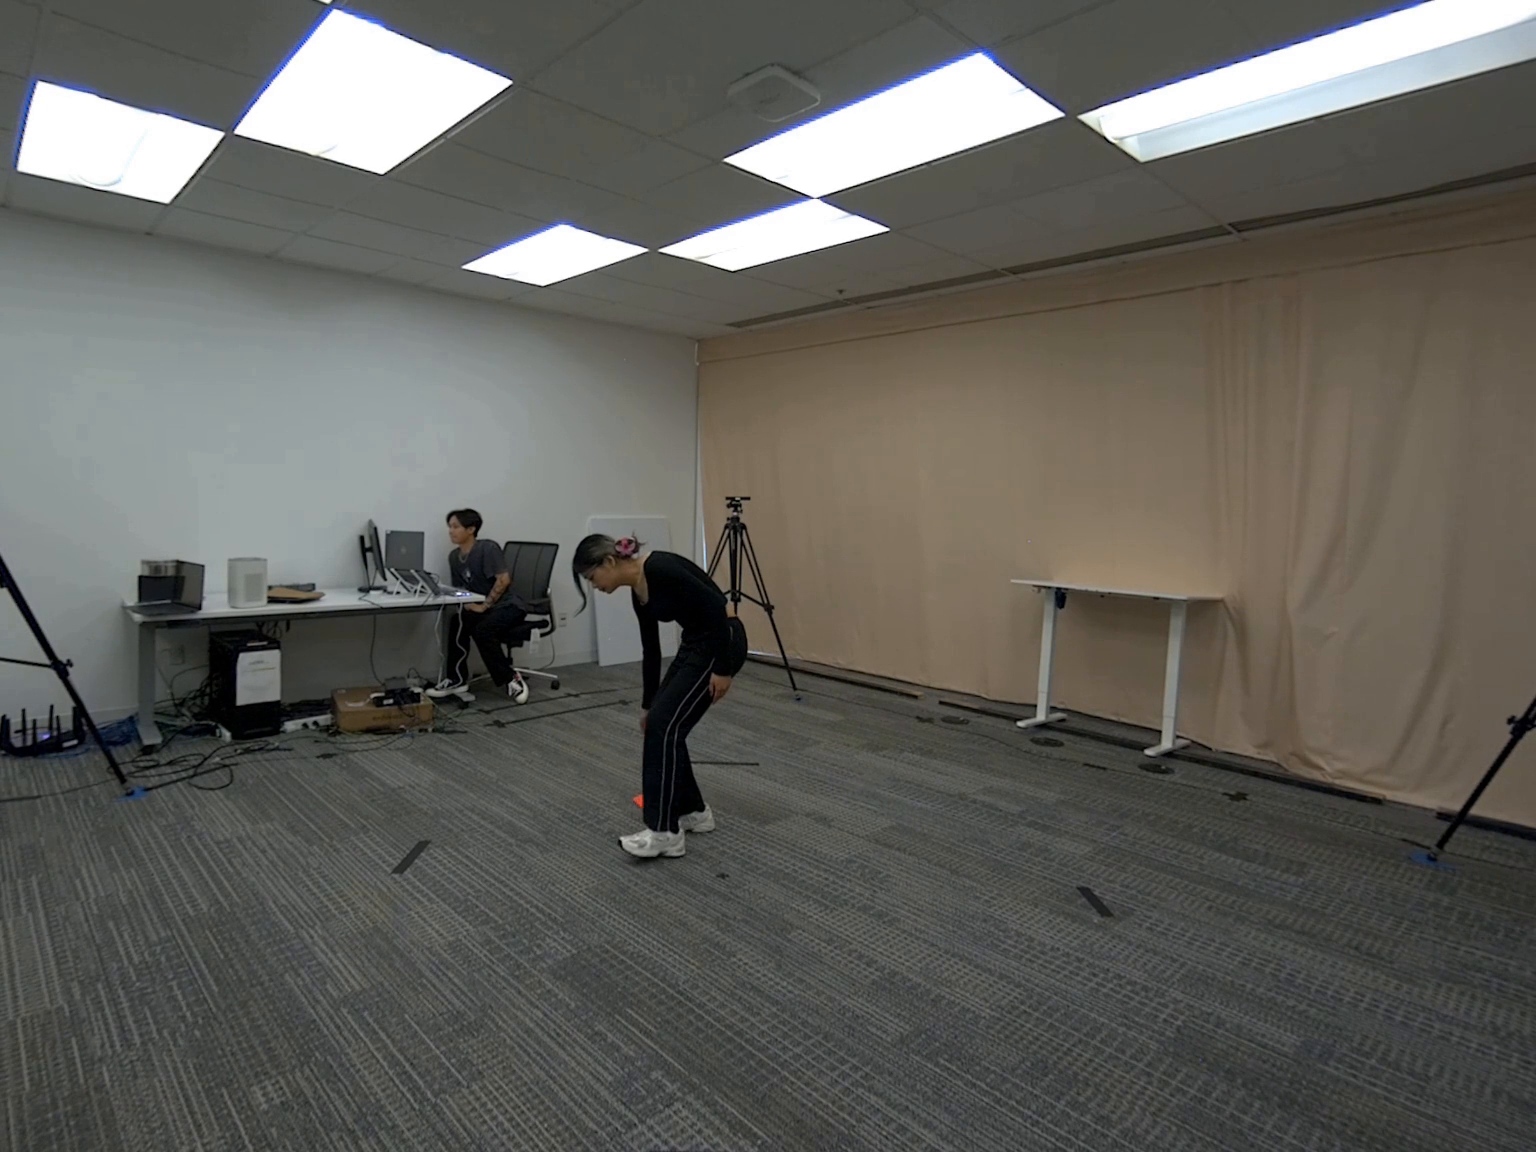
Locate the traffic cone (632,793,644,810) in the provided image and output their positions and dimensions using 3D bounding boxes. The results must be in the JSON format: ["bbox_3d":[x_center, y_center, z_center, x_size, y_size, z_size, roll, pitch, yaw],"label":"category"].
[{"bbox_3d":[-0.522,0.843,3.782,0.200,0.380,0.210,-14,14,-36],"label":"traffic cone"}]
